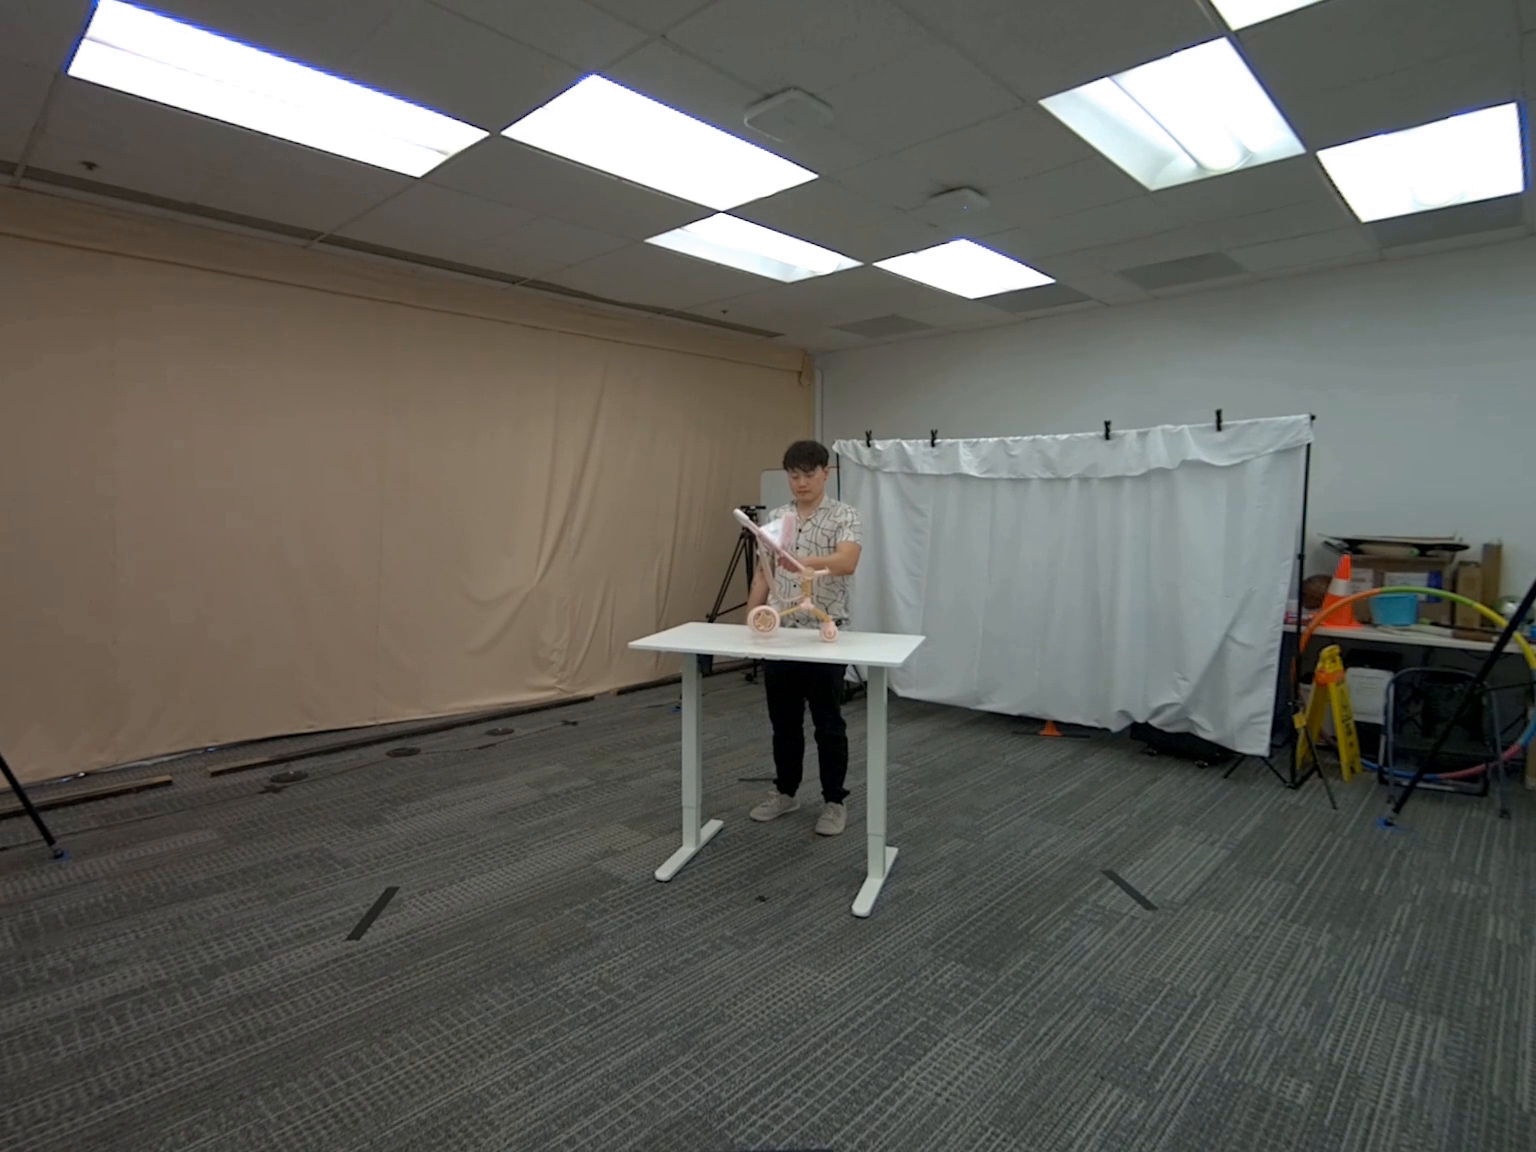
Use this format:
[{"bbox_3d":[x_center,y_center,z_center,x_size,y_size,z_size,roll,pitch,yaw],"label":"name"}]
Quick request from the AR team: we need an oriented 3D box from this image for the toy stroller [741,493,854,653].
[{"bbox_3d":[0.102,-0.006,3.155,0.342,0.537,0.279,-6,-5,2],"label":"toy stroller"}]
